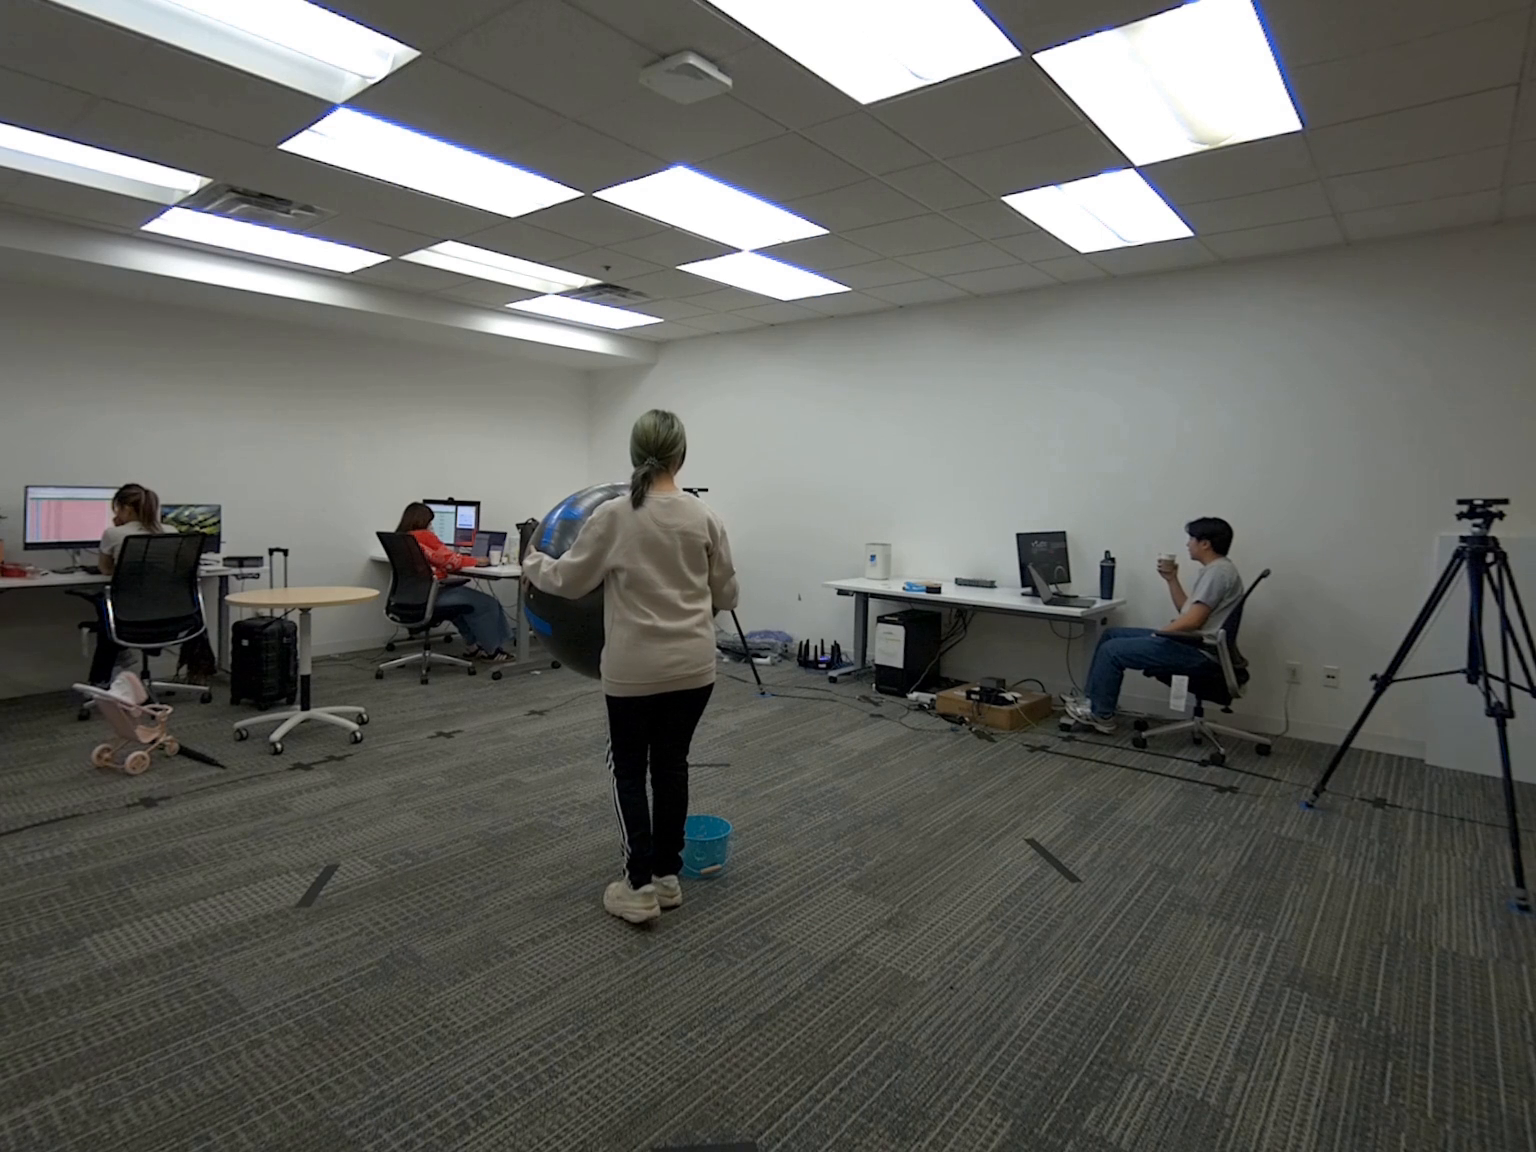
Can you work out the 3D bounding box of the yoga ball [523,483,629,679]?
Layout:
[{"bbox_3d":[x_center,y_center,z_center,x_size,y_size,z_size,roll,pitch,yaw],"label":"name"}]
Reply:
[{"bbox_3d":[-0.576,0.027,3.265,0.757,0.756,0.762,1,4,-2],"label":"yoga ball"}]
